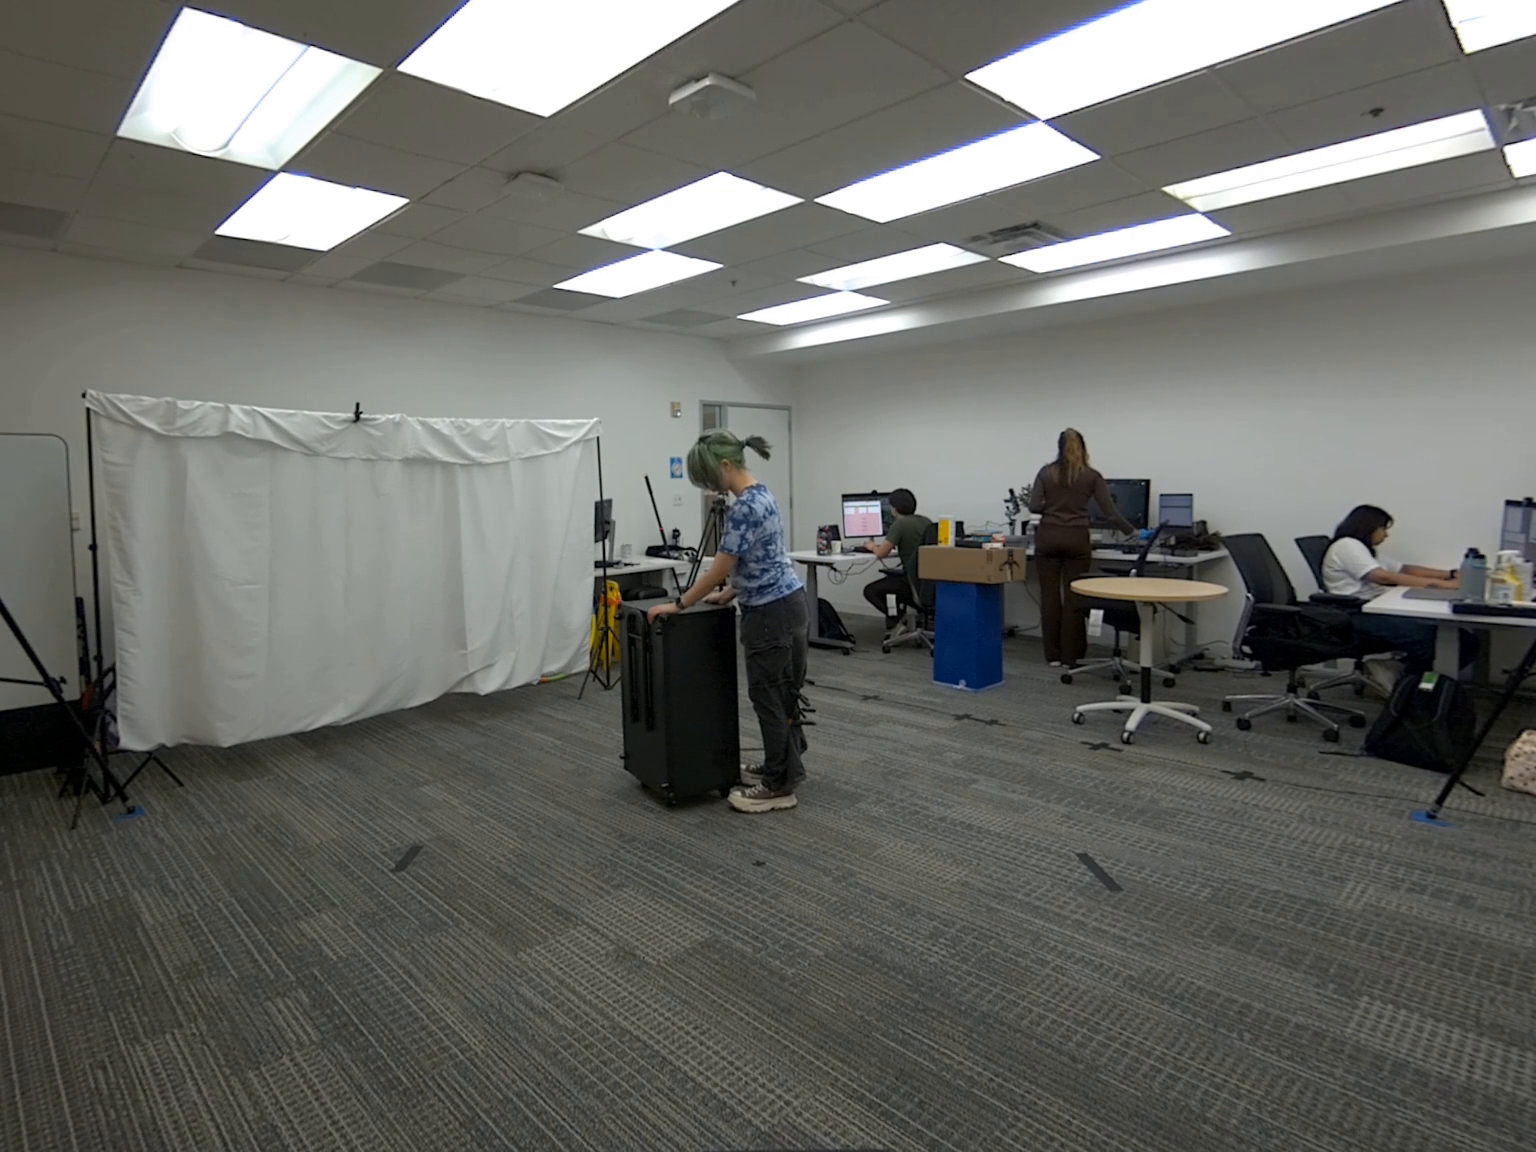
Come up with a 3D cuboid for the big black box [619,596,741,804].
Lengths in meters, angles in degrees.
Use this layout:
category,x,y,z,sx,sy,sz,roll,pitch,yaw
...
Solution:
category,x,y,z,sx,sy,sz,roll,pitch,yaw
big black box,-0.415,0.555,3.816,0.387,0.858,0.536,-5,6,-31
